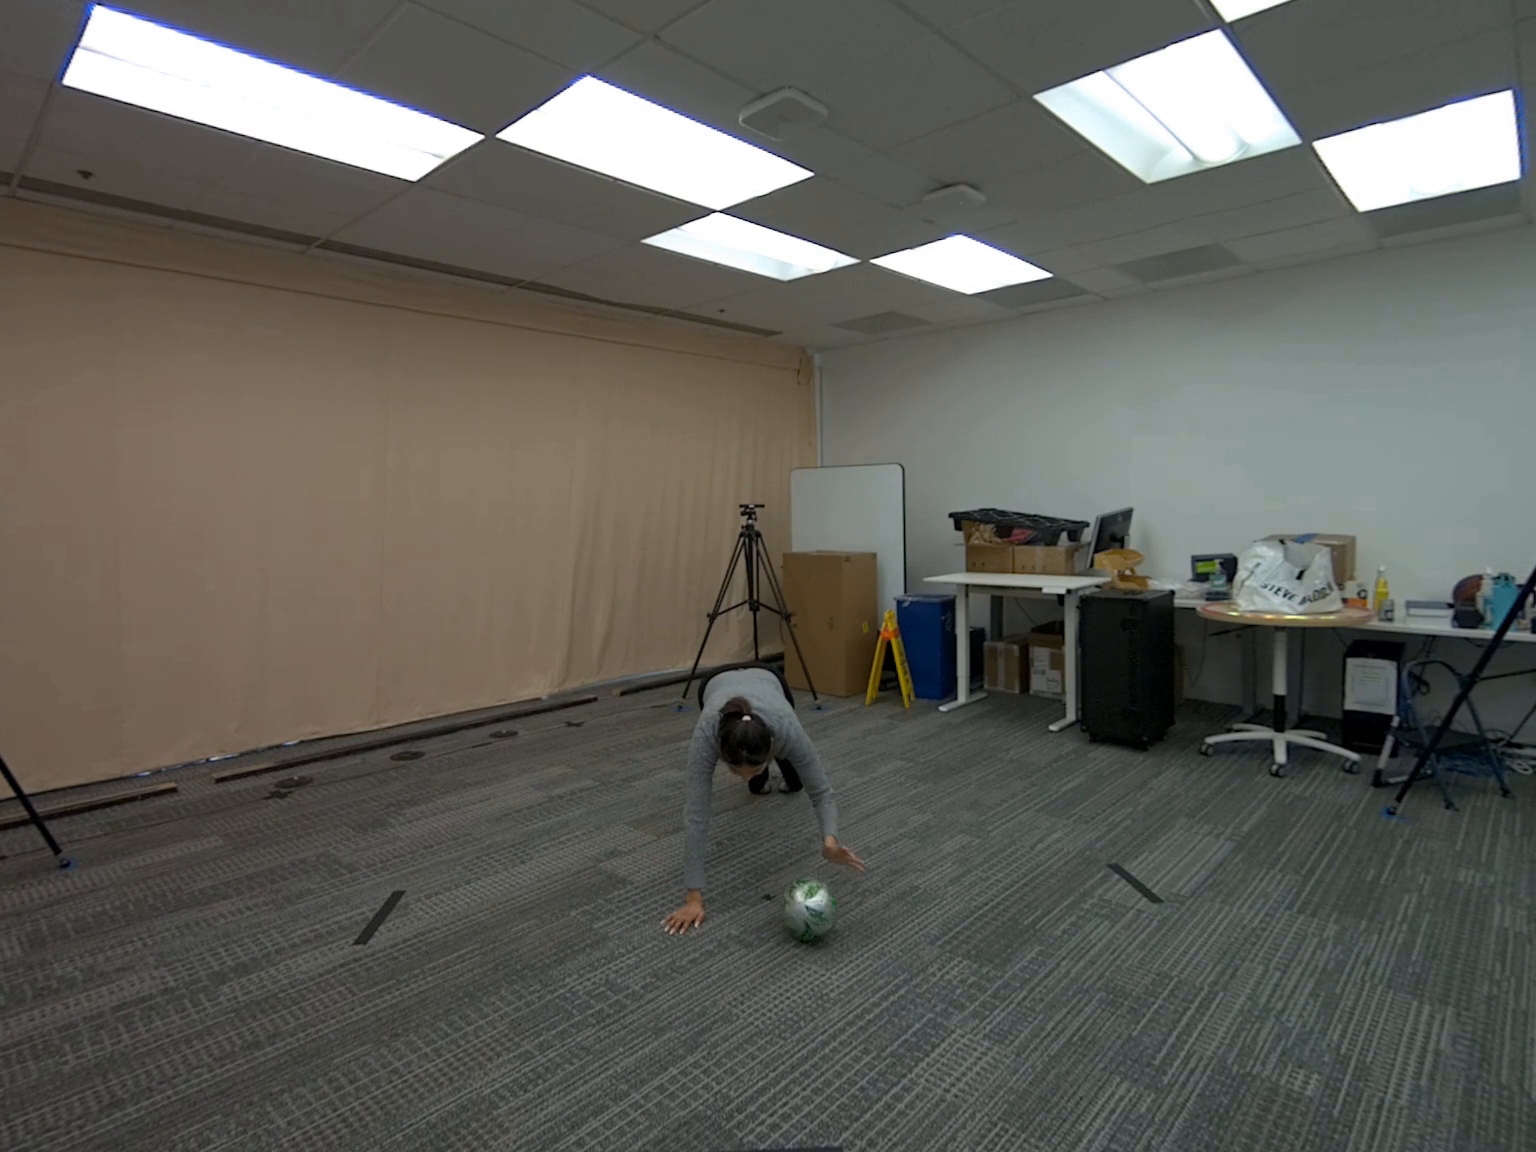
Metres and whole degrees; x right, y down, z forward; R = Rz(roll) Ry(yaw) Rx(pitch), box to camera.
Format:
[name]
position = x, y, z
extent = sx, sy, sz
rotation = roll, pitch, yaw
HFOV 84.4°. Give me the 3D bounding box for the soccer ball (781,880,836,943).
[soccer ball]
position = 0.126, 1.061, 2.701
extent = 0.187, 0.187, 0.188
rotation = -1, 4, -2
